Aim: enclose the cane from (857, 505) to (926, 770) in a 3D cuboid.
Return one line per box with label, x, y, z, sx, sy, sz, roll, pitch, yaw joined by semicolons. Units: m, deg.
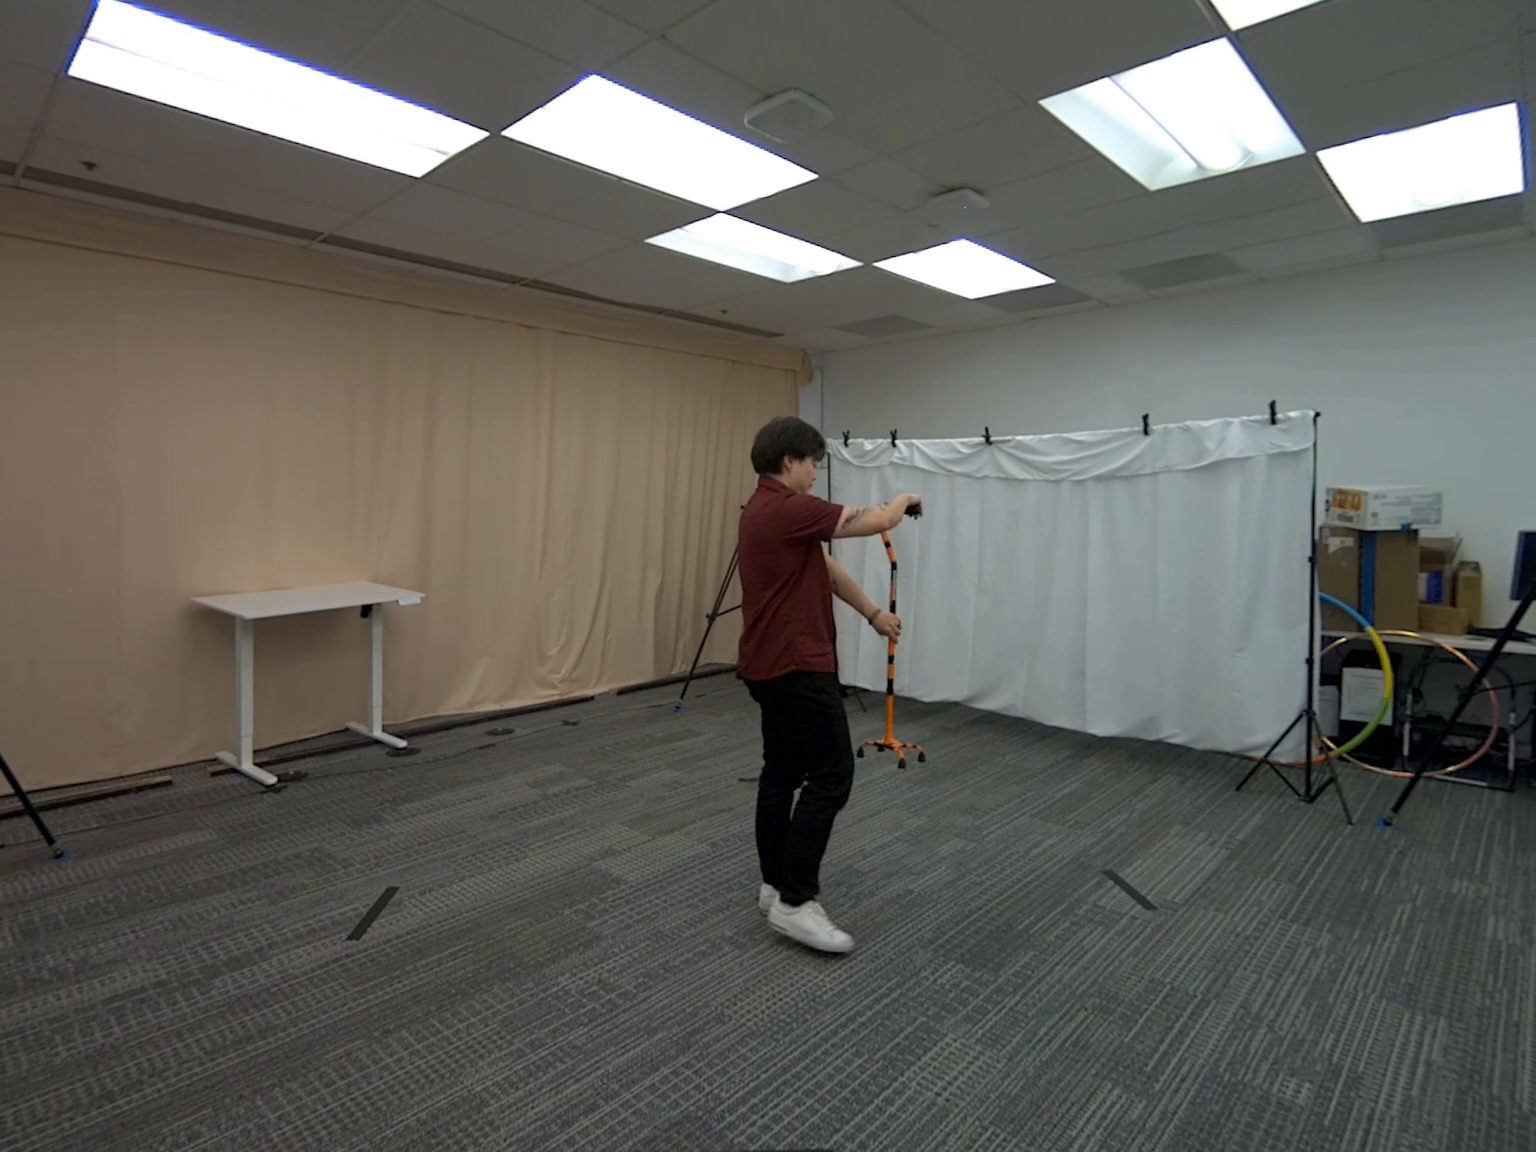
cane;0.466;0.218;3.000;0.213;0.907;0.147;4;2;40
